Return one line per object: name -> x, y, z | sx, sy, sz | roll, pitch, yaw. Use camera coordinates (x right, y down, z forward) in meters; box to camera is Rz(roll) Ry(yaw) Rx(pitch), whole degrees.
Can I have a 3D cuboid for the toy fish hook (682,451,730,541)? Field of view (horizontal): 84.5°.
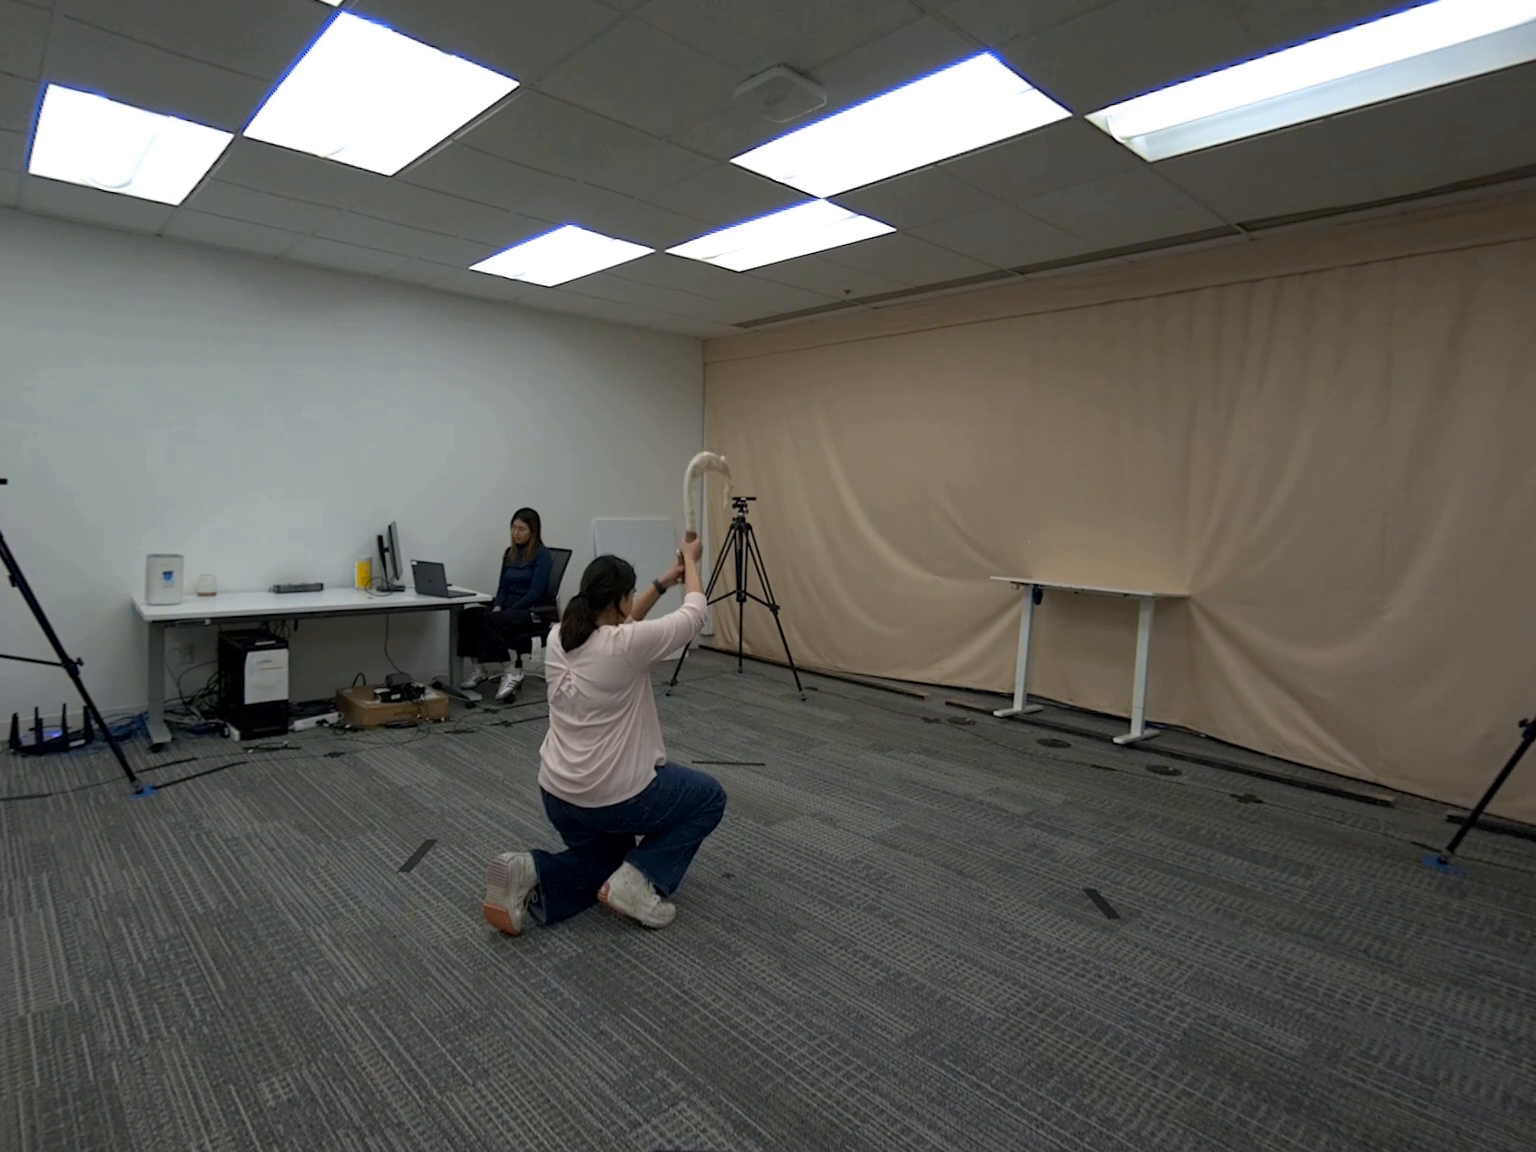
toy fish hook -> -0.260, -0.194, 3.187 | 0.219, 0.507, 0.049 | 11, -3, -30
